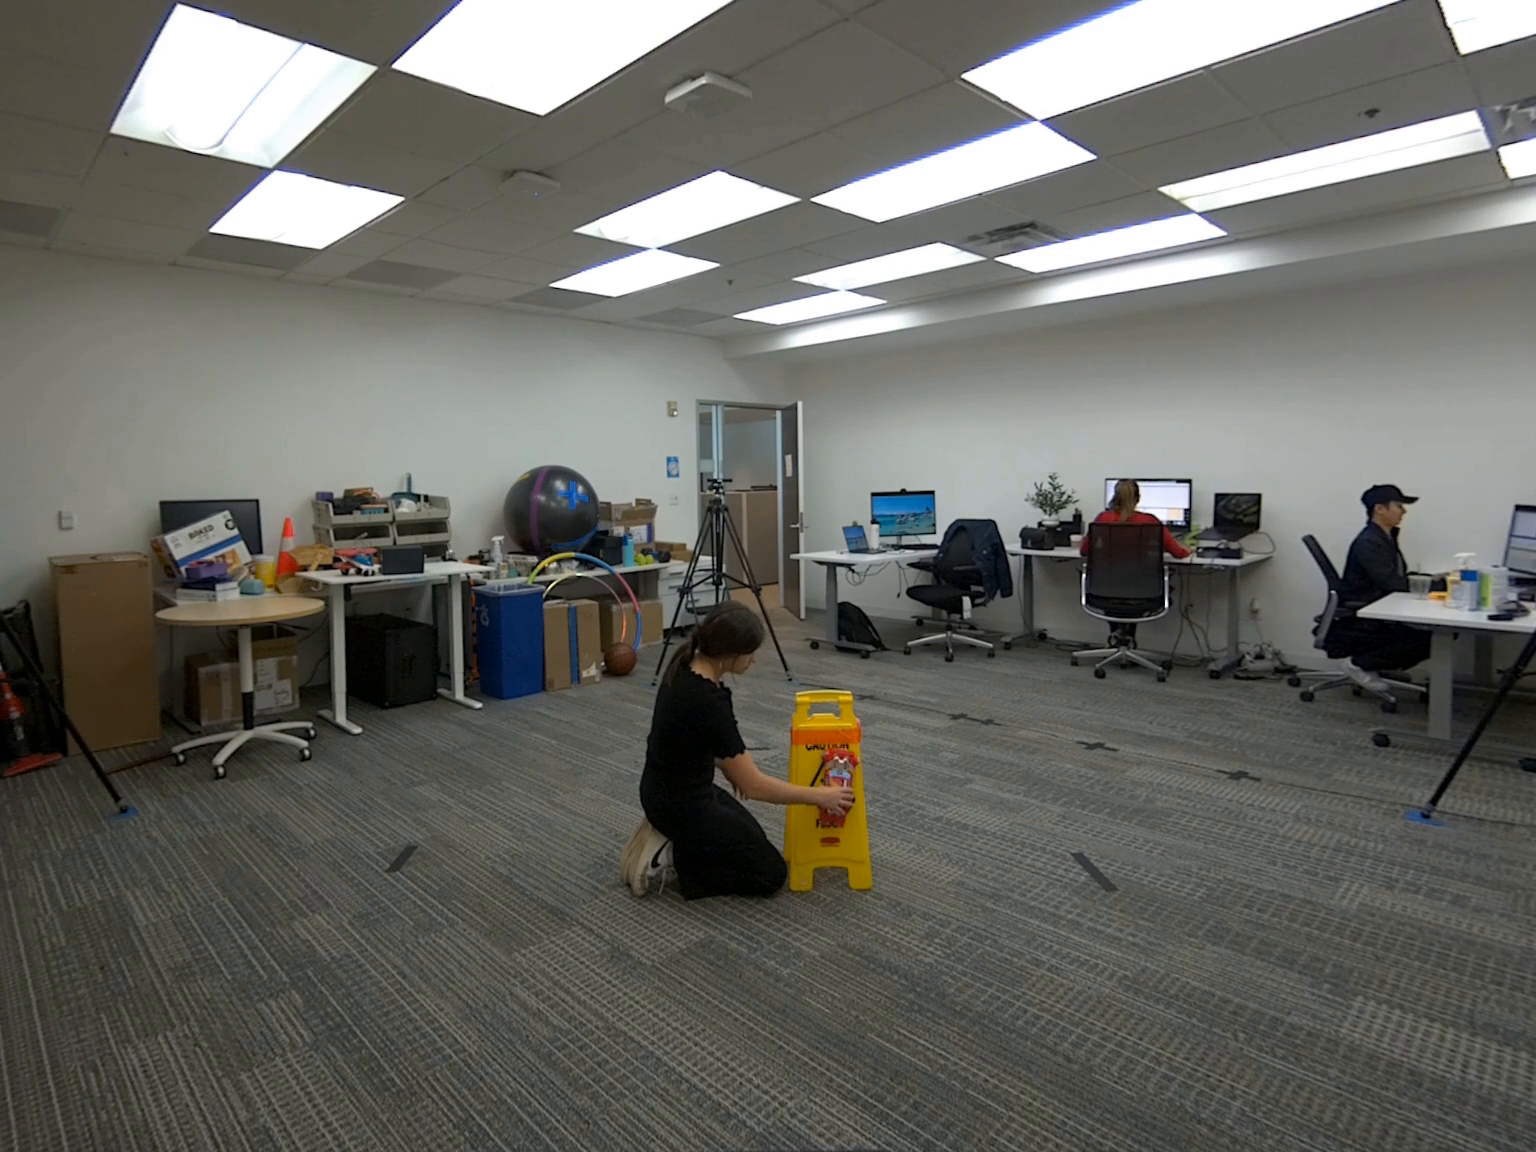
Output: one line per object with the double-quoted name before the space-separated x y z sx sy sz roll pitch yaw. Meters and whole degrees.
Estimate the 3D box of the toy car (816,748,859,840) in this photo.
"toy car" 0.218 0.719 2.890 0.130 0.258 0.082 6 -16 -2
